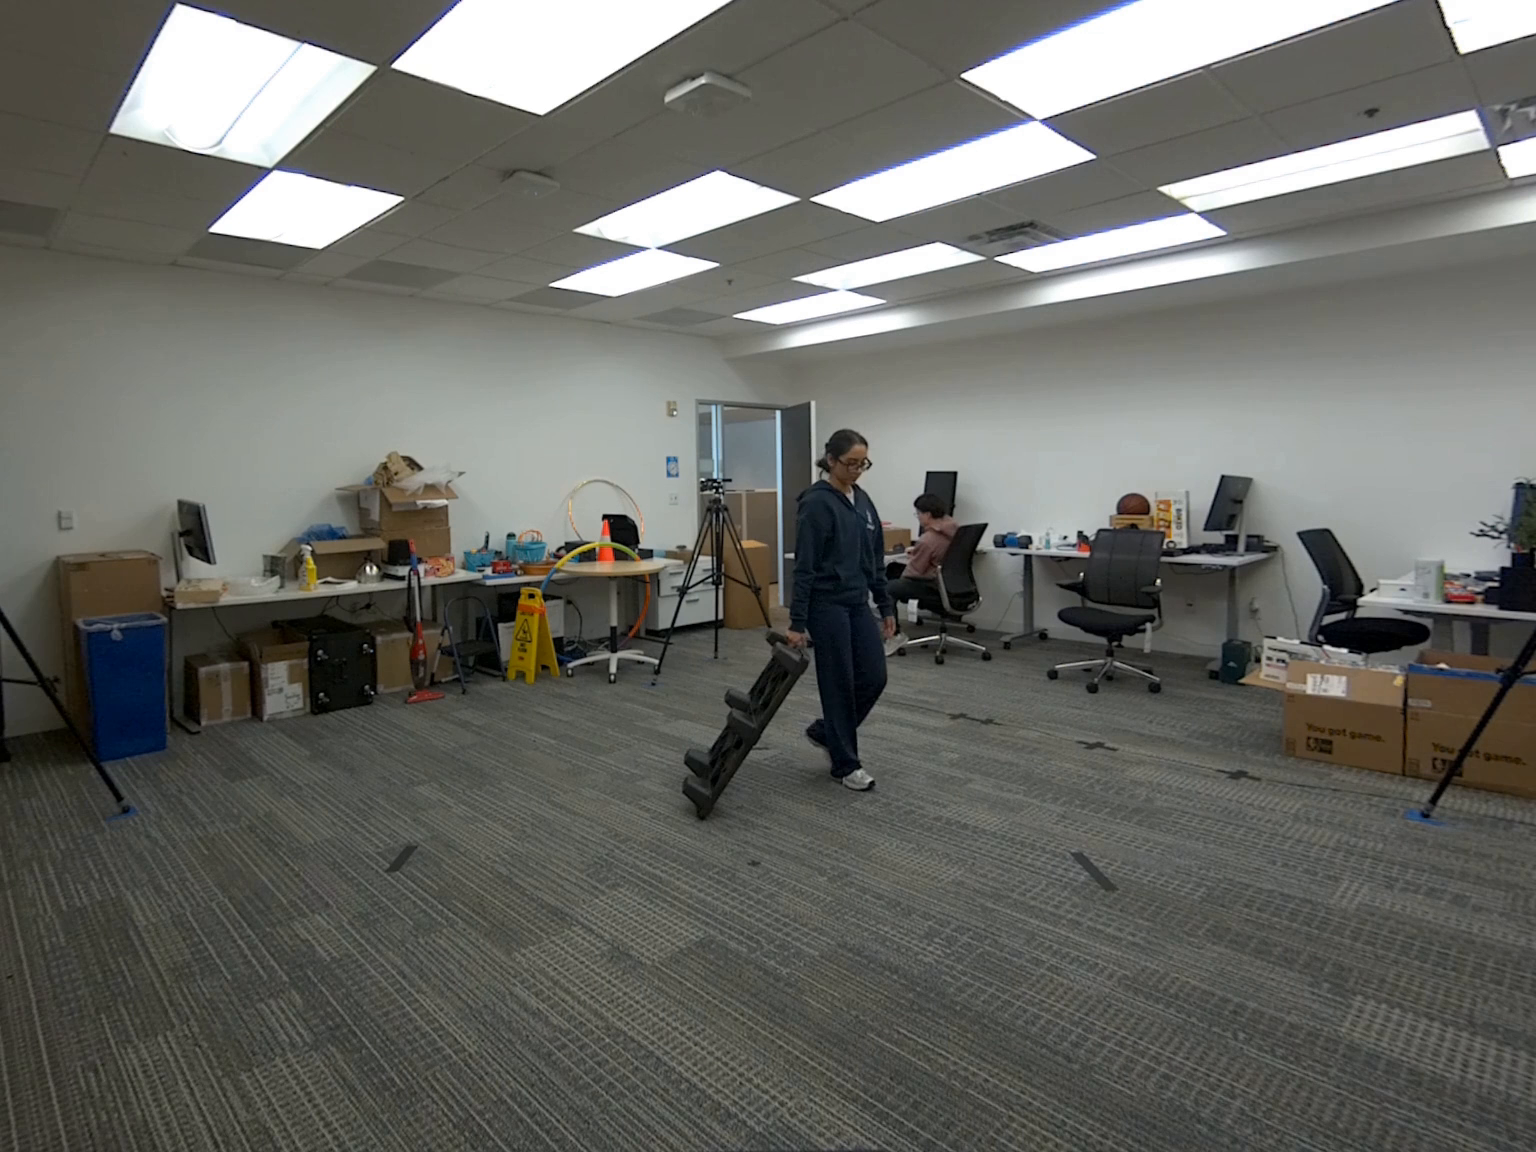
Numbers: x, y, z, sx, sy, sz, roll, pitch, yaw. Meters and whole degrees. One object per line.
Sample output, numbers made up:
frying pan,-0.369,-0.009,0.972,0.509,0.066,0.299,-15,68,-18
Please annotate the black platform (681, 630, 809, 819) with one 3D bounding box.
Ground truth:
black platform,-0.119,0.607,3.769,0.142,0.805,0.609,33,2,-7
